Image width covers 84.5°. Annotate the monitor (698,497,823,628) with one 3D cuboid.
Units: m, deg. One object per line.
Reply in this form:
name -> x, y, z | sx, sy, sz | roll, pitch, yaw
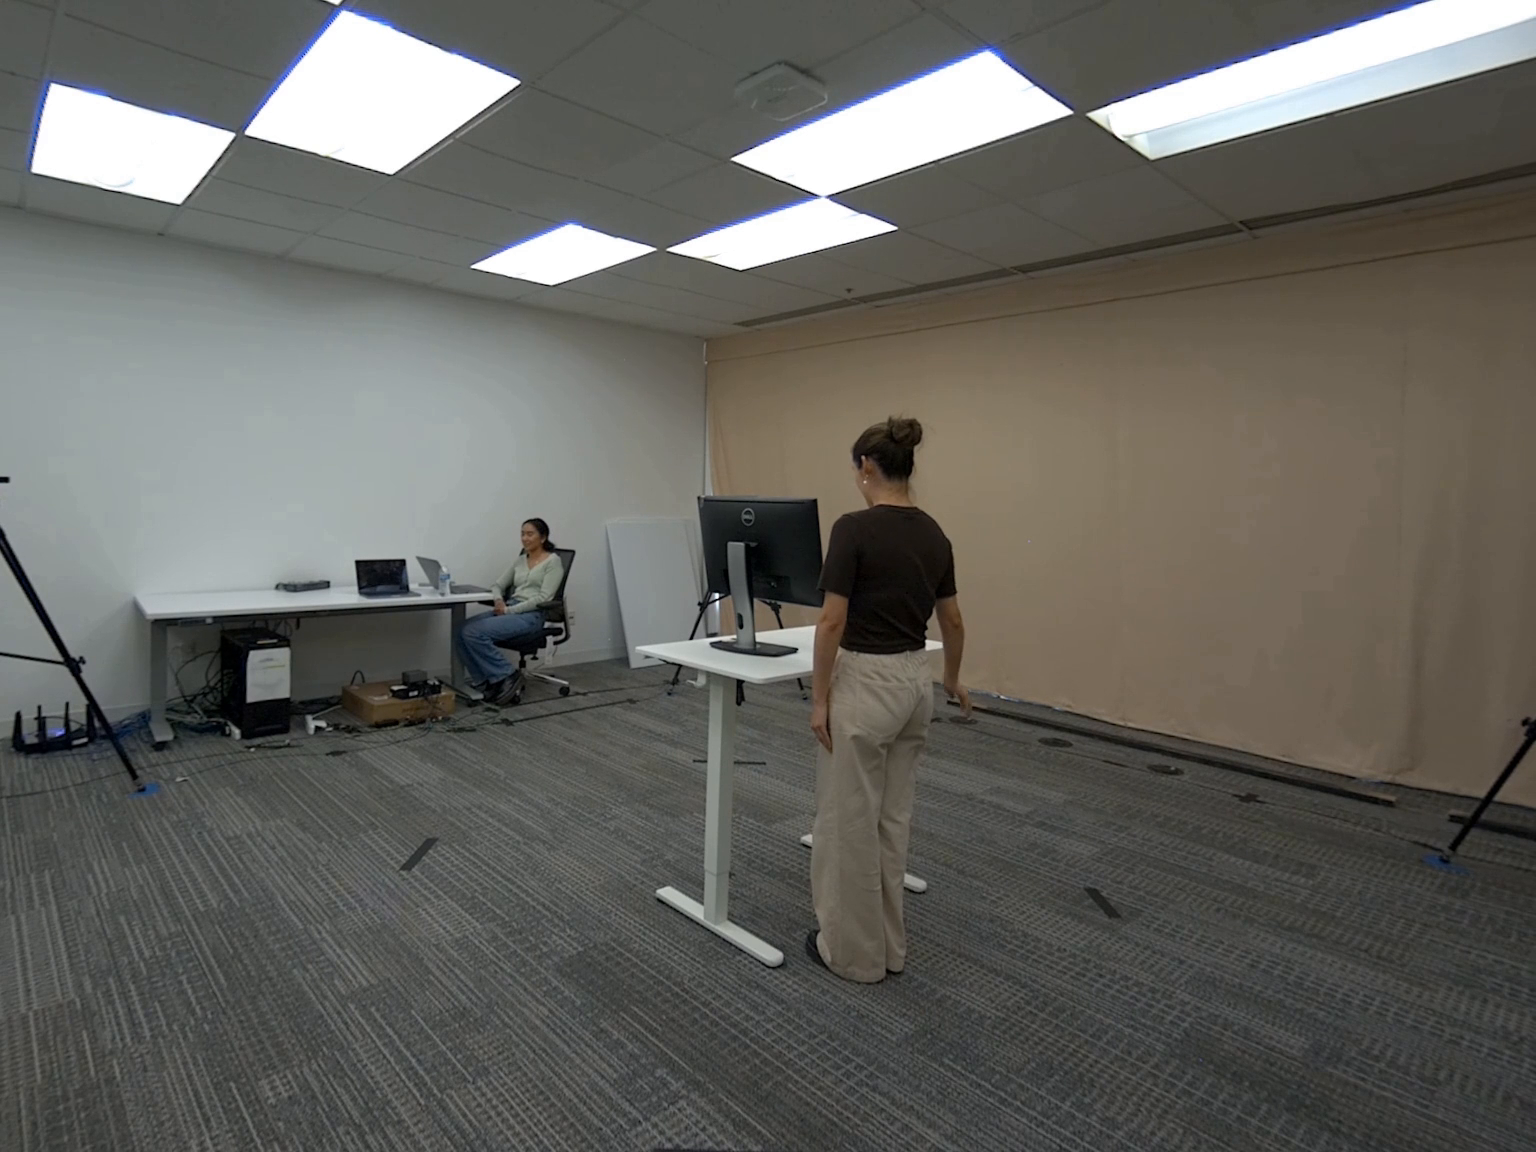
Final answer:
monitor -> -0.056, -0.002, 2.798 | 0.553, 0.521, 0.183 | 5, 4, 44
